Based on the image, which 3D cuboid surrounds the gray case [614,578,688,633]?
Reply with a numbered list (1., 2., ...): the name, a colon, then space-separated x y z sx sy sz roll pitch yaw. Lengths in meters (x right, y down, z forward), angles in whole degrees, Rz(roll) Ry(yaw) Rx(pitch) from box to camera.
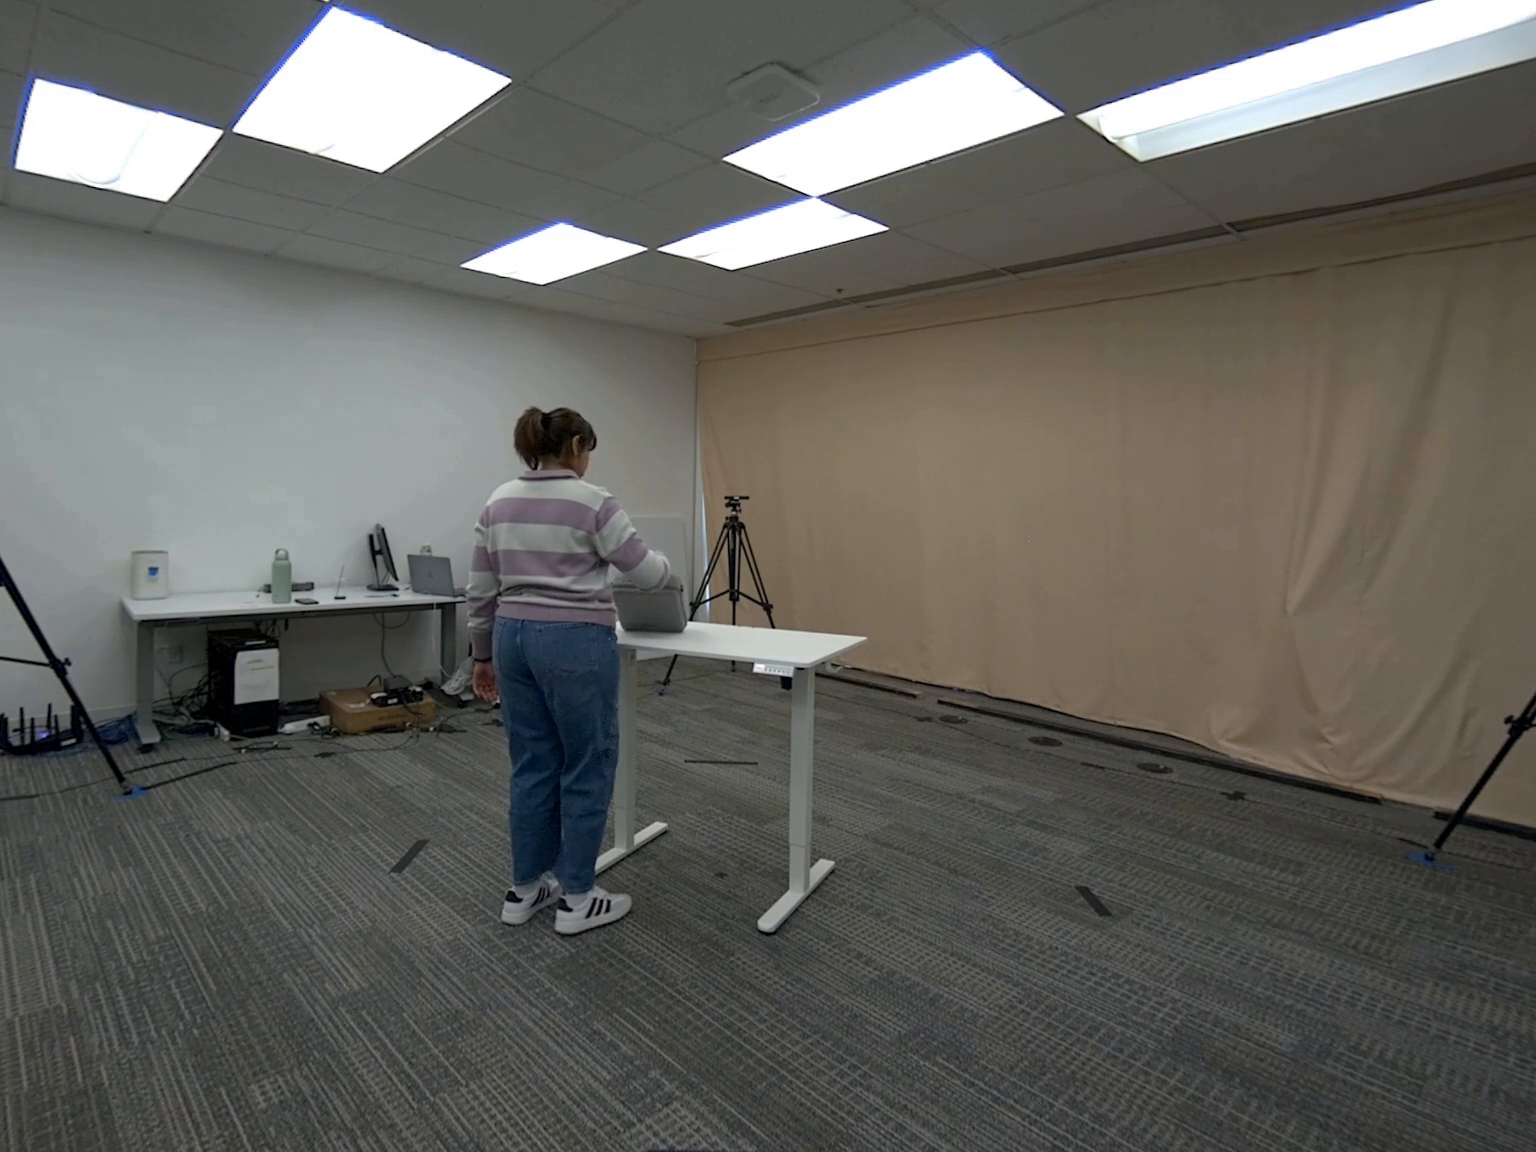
1. gray case: -0.447 0.101 3.114 0.258 0.106 0.254 1 -42 6
